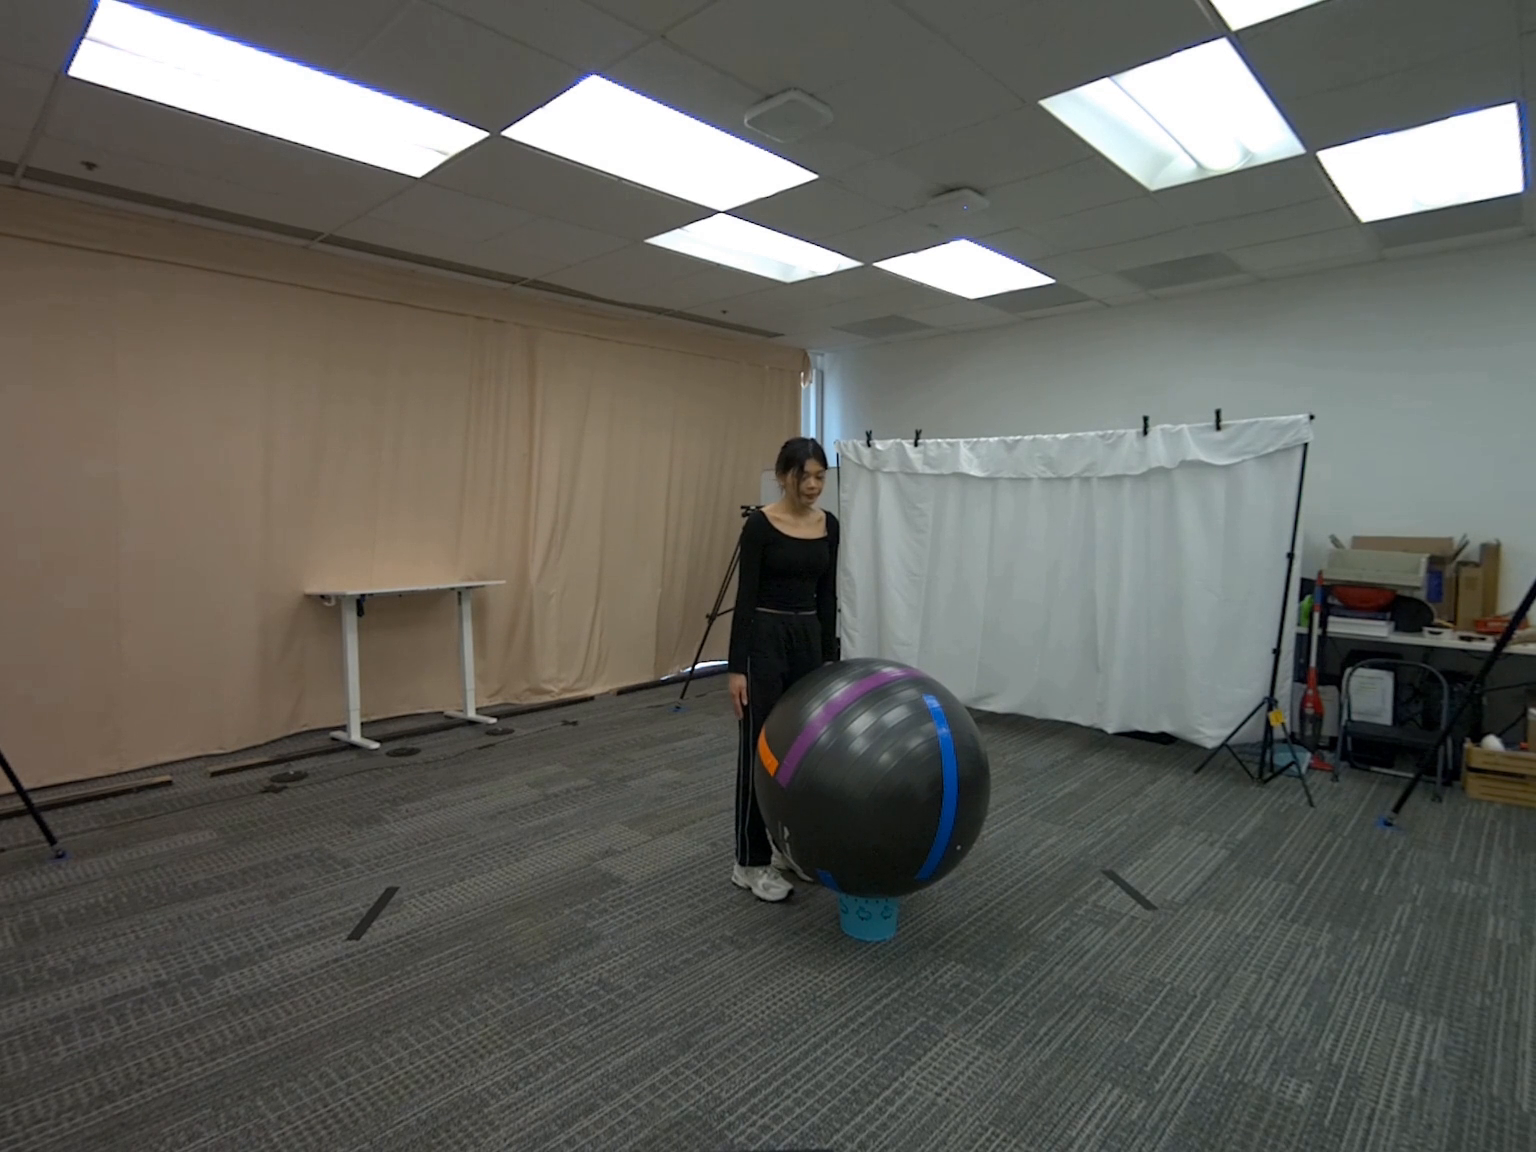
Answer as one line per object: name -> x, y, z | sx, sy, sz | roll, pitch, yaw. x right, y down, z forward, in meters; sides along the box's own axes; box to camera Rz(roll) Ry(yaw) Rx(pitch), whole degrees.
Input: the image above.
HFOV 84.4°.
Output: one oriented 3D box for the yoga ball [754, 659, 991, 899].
yoga ball -> 0.340, 0.657, 2.763 | 0.757, 0.756, 0.760 | 0, 4, -2
